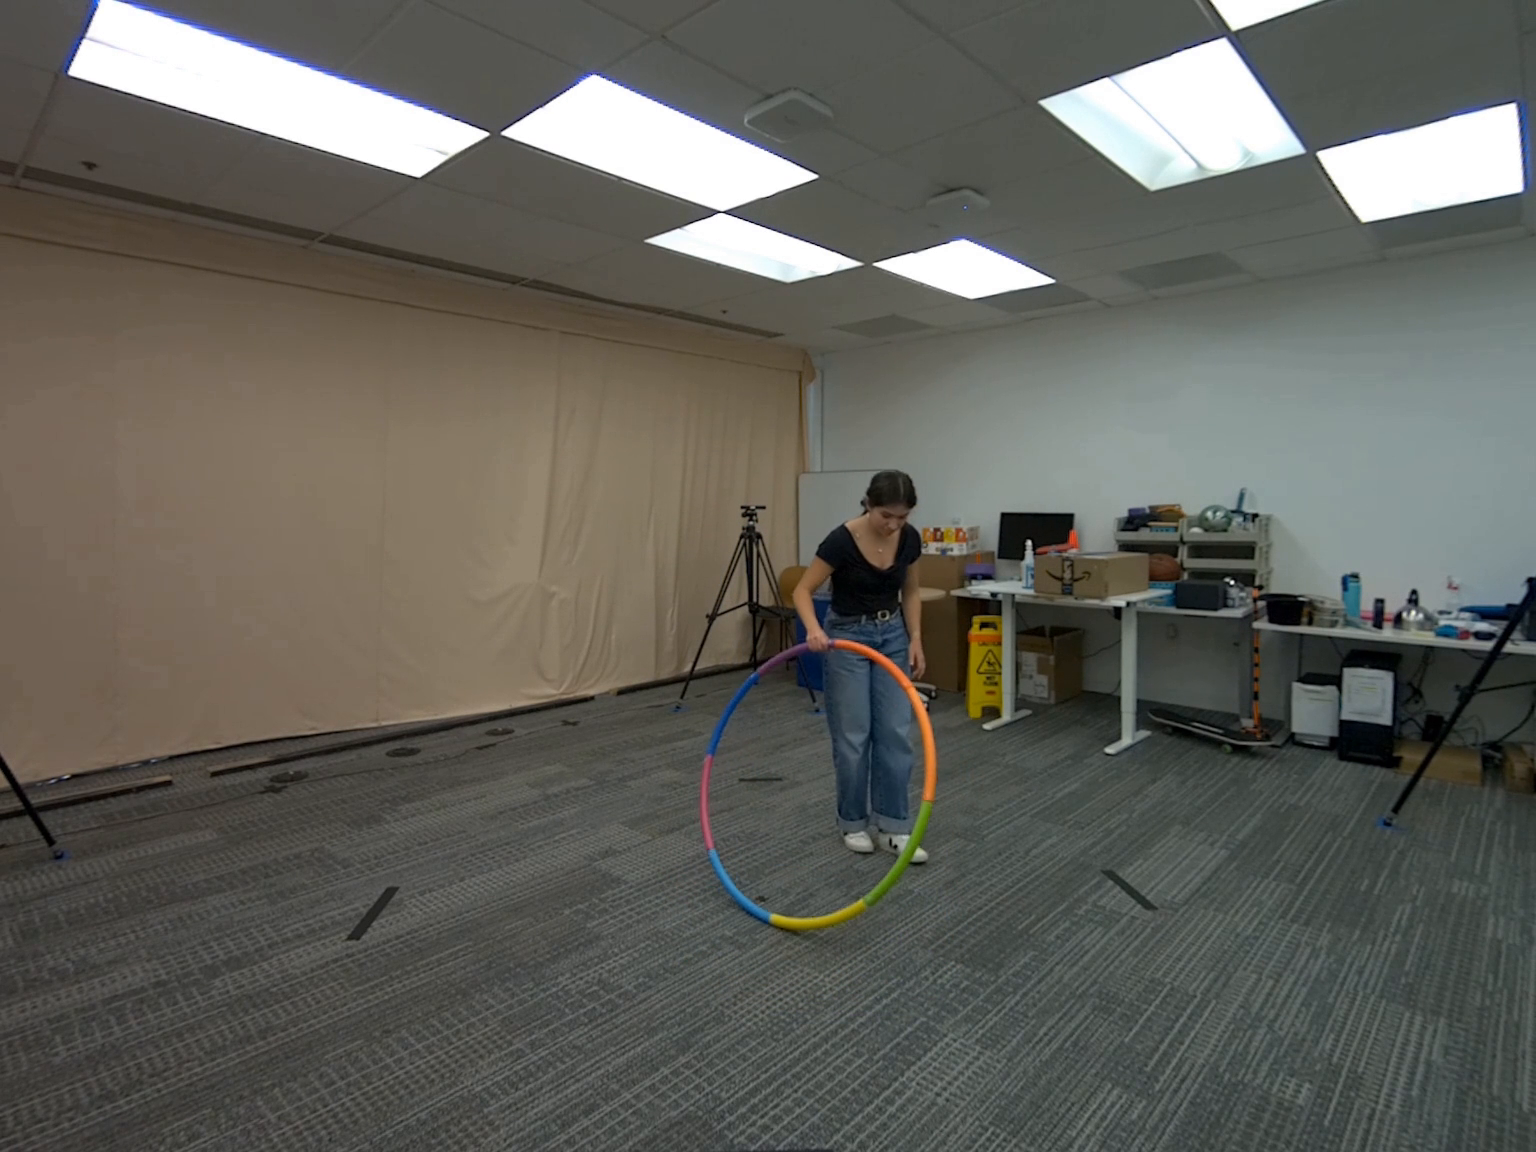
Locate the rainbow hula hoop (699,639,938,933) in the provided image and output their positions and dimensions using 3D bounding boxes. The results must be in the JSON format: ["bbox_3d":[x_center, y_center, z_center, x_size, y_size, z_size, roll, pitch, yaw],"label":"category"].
[{"bbox_3d":[0.144,0.703,2.943,1.011,0.982,0.034,4,-21,43],"label":"rainbow hula hoop"}]
